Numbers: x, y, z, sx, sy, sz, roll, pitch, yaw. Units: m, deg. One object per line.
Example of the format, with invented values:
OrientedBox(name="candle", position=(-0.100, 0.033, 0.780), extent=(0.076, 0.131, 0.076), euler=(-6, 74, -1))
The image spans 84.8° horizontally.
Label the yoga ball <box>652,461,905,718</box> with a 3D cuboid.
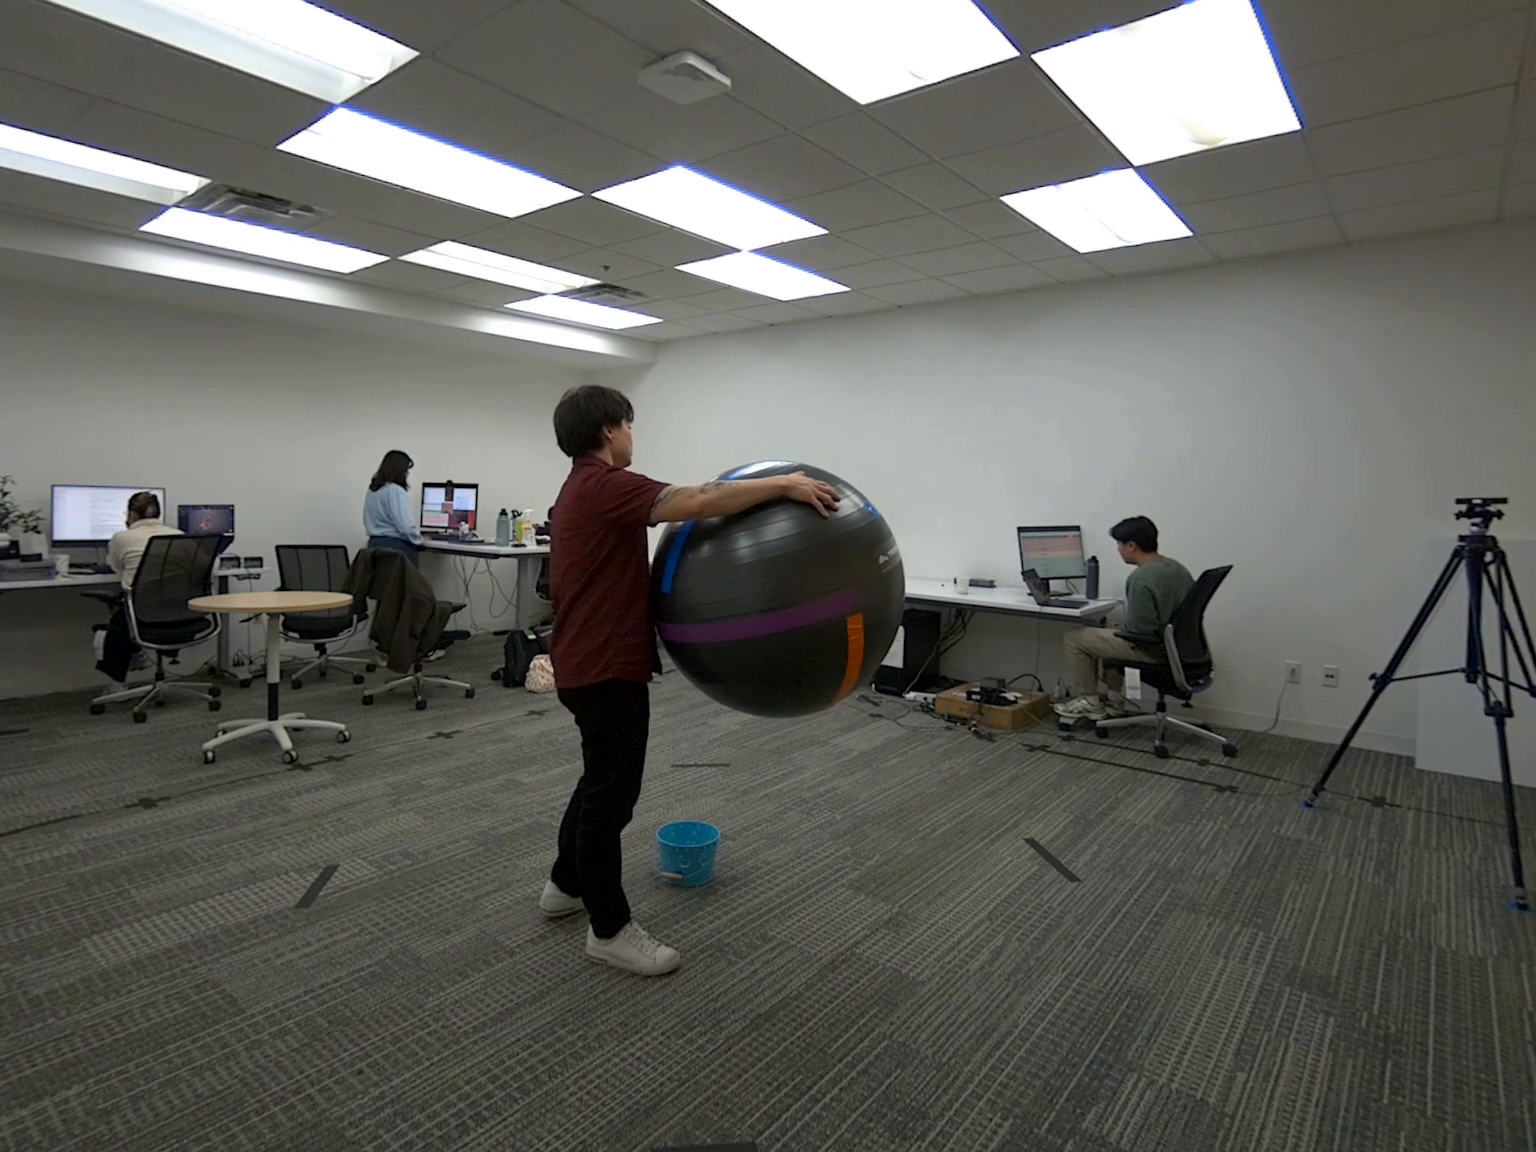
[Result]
OrientedBox(name="yoga ball", position=(0.018, 0.043, 2.534), extent=(0.757, 0.756, 0.761), euler=(1, 4, -2))
